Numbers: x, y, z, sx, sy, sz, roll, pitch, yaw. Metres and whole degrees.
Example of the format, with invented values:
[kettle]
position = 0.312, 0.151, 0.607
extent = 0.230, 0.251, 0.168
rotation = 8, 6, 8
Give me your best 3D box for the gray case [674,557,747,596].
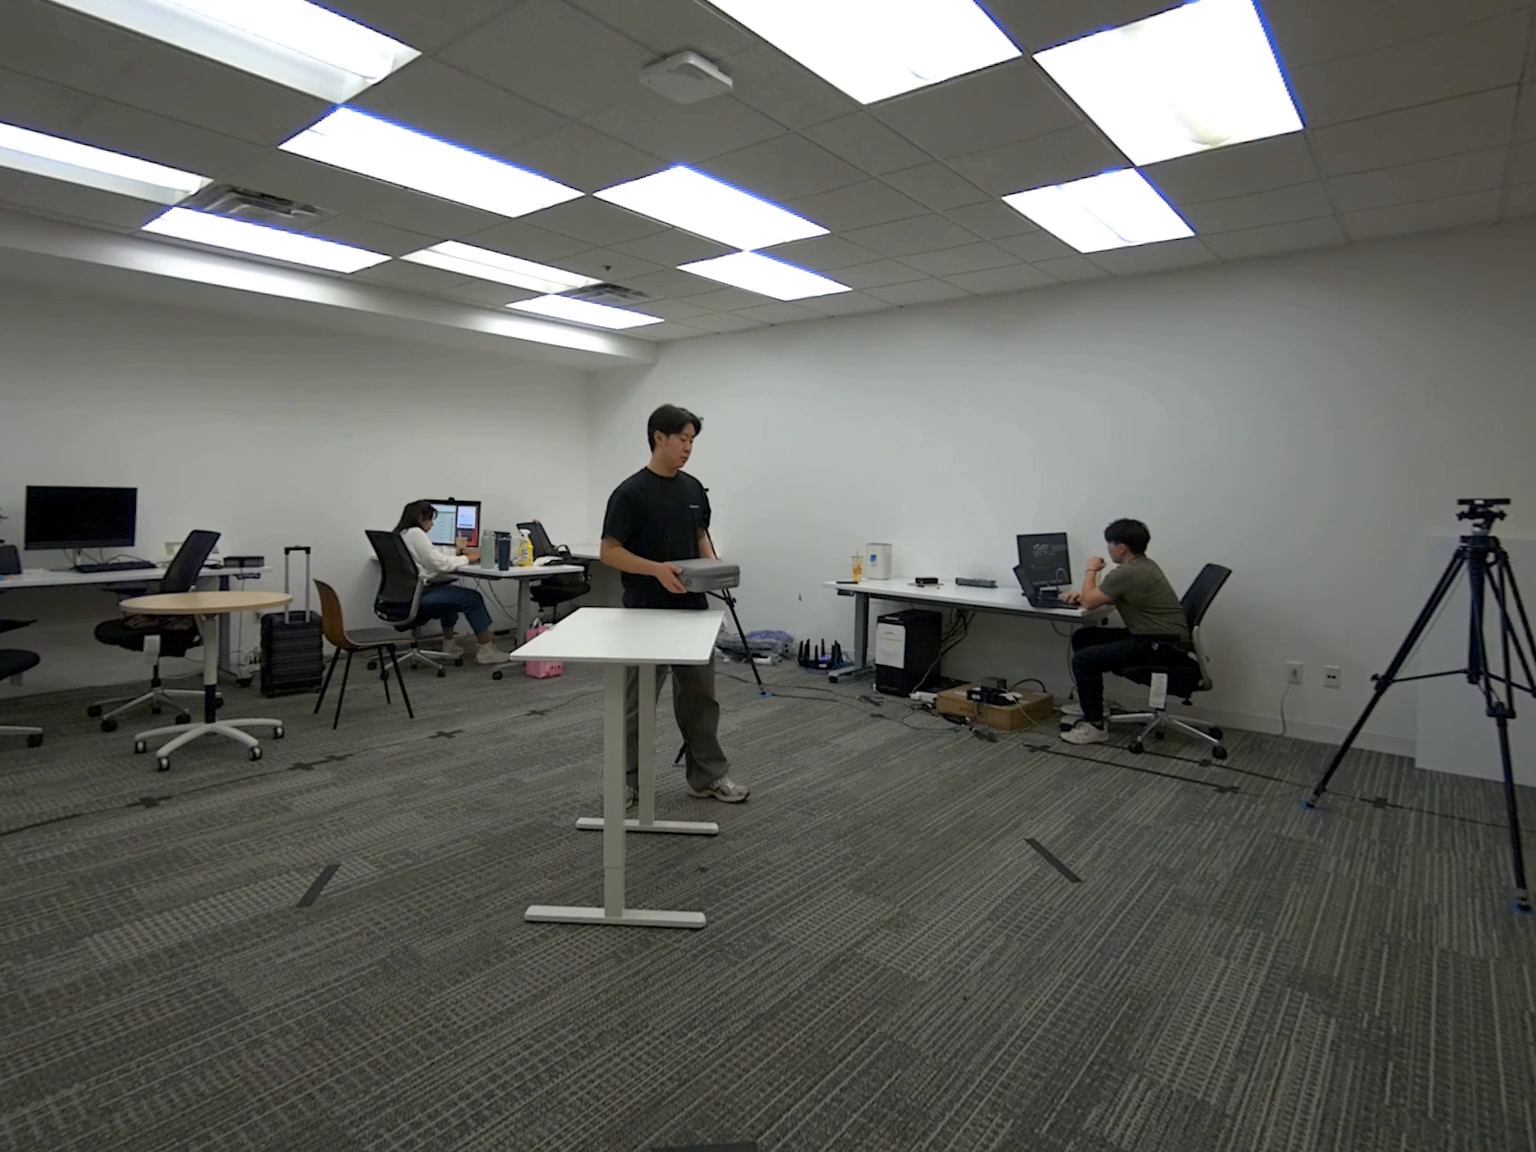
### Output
[gray case]
position = -0.272, -0.013, 3.541
extent = 0.270, 0.102, 0.282
rotation = 8, 10, 22
